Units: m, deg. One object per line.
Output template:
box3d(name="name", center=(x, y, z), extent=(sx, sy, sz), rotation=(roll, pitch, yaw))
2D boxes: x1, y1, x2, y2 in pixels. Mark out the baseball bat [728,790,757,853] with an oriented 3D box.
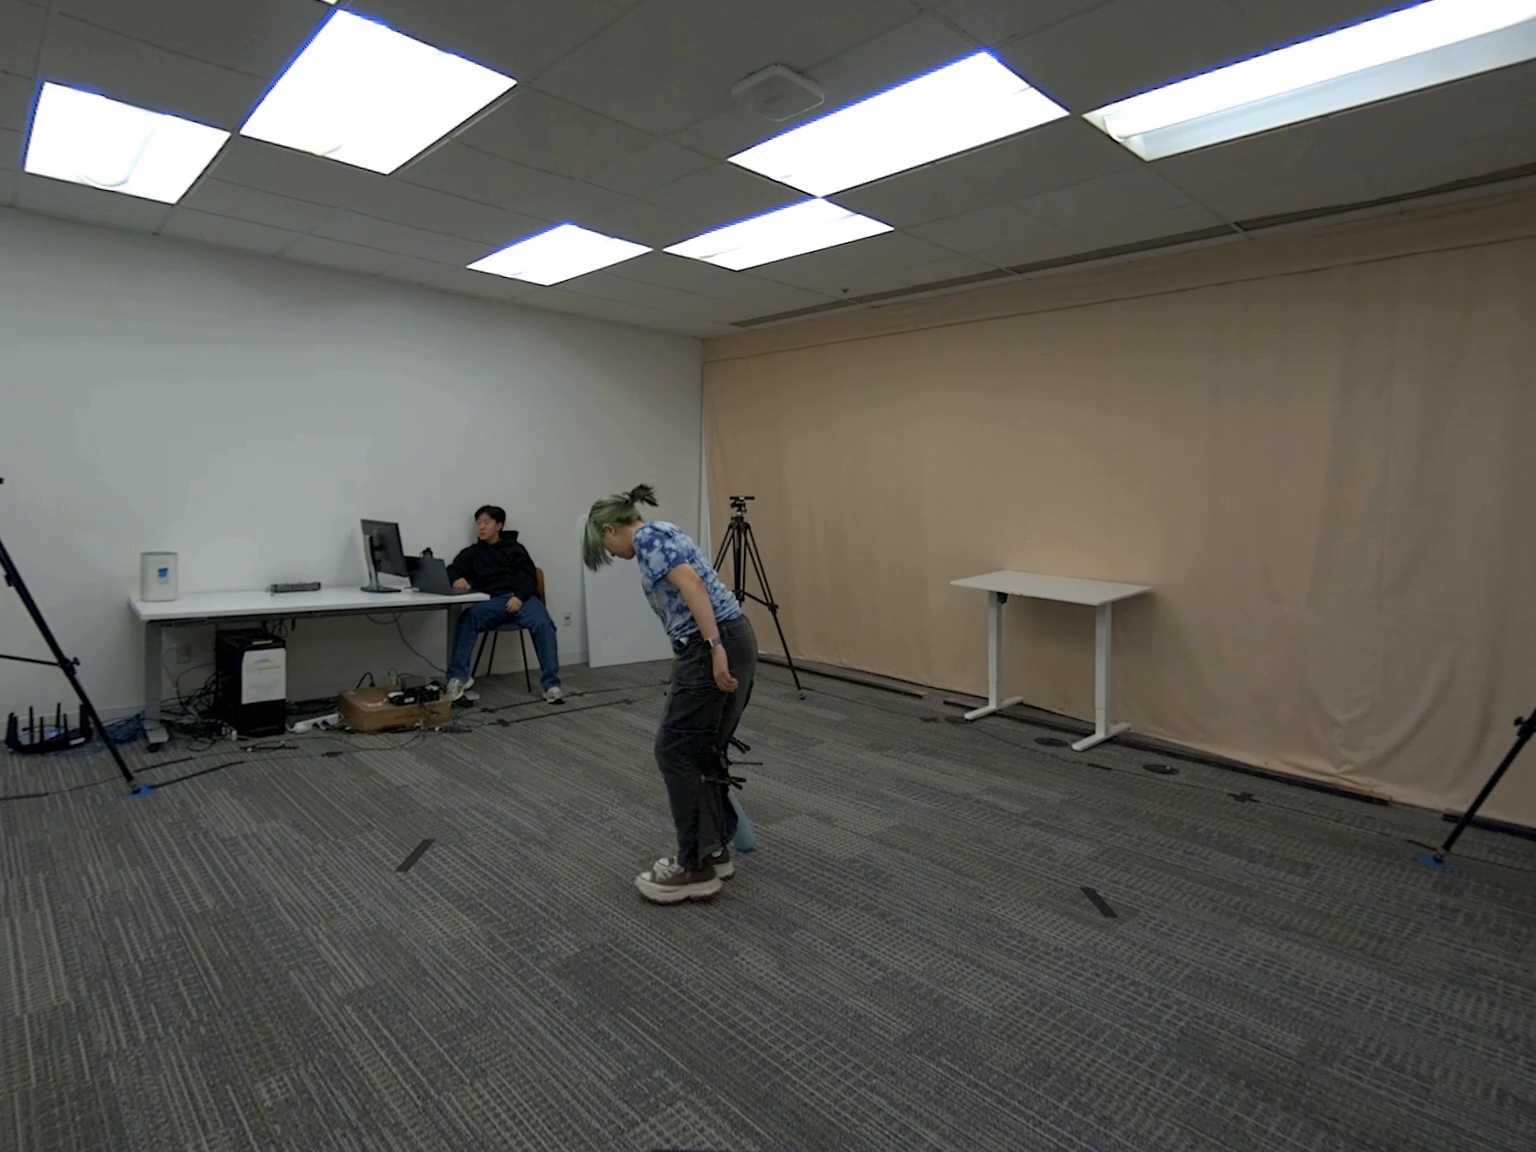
box3d(name="baseball bat", center=(-0.187, 0.837, 3.296), extent=(0.089, 0.537, 0.090), rotation=(-22, 11, 4))
